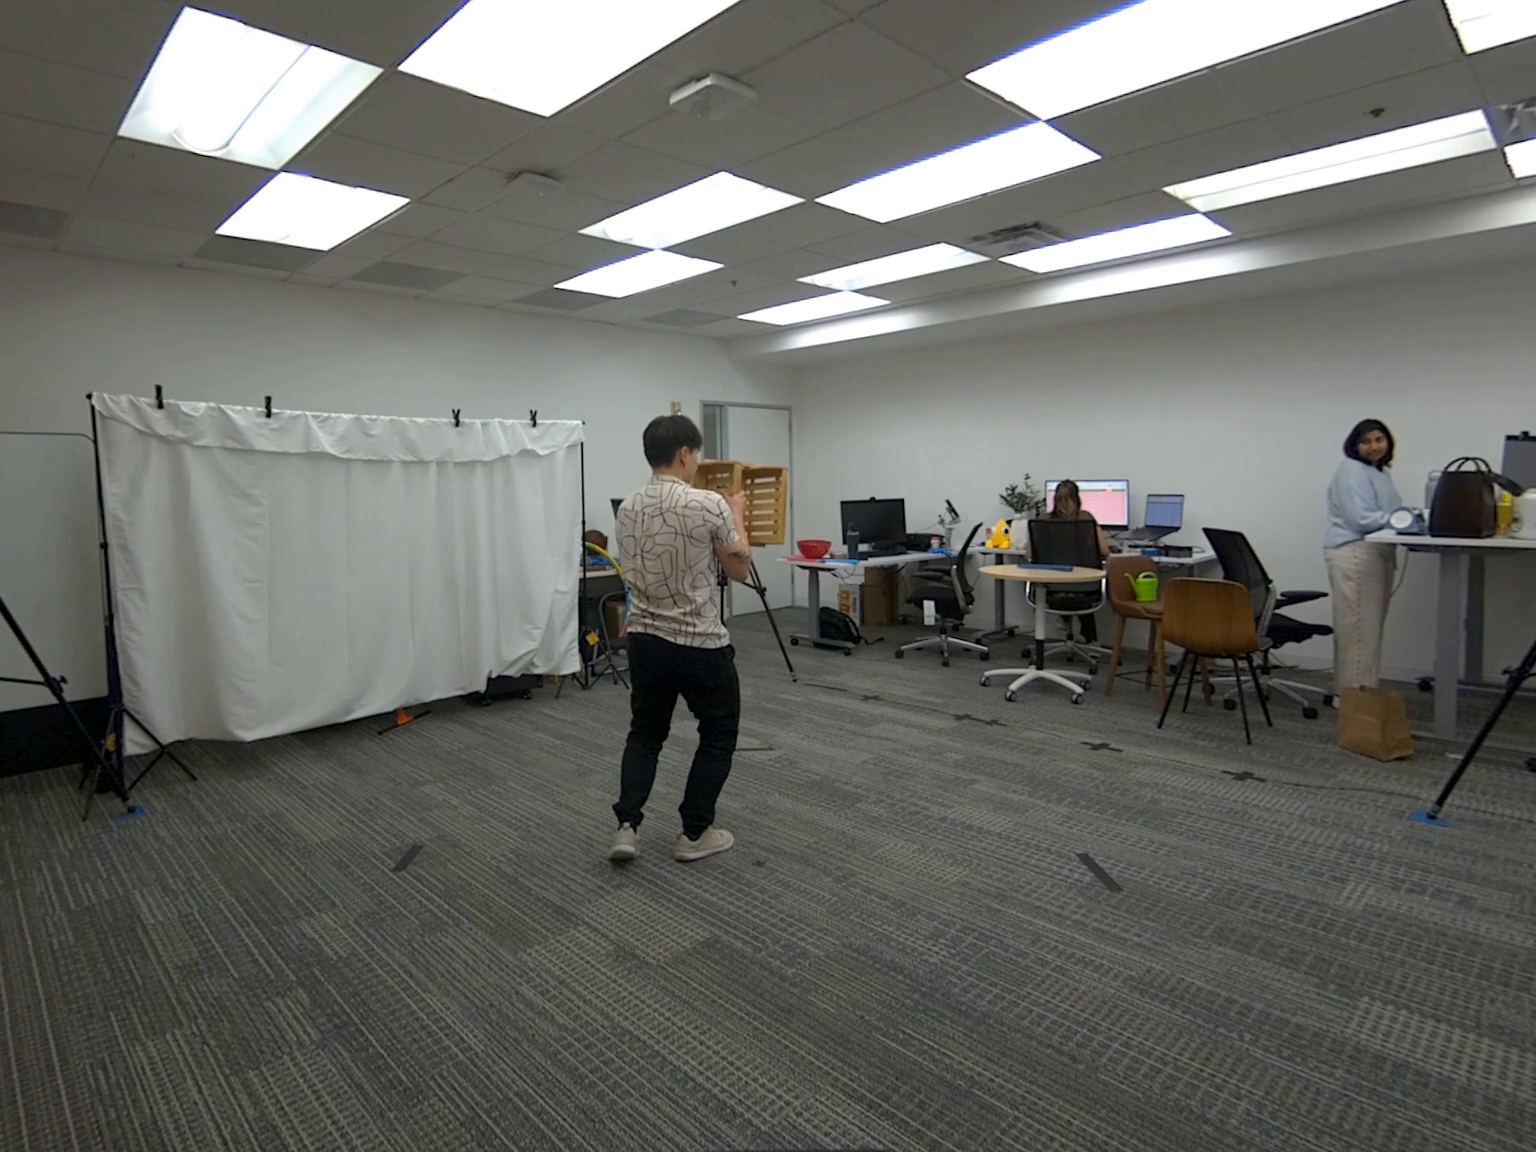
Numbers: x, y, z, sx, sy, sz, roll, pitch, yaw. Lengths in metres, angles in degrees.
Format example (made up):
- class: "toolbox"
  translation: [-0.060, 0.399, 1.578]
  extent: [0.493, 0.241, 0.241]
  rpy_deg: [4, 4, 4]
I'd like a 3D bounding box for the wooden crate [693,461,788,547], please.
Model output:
- class: "wooden crate"
  translation: [-0.112, -0.276, 3.347]
  extent: [0.310, 0.326, 0.264]
  rpy_deg: [-1, -6, 45]
